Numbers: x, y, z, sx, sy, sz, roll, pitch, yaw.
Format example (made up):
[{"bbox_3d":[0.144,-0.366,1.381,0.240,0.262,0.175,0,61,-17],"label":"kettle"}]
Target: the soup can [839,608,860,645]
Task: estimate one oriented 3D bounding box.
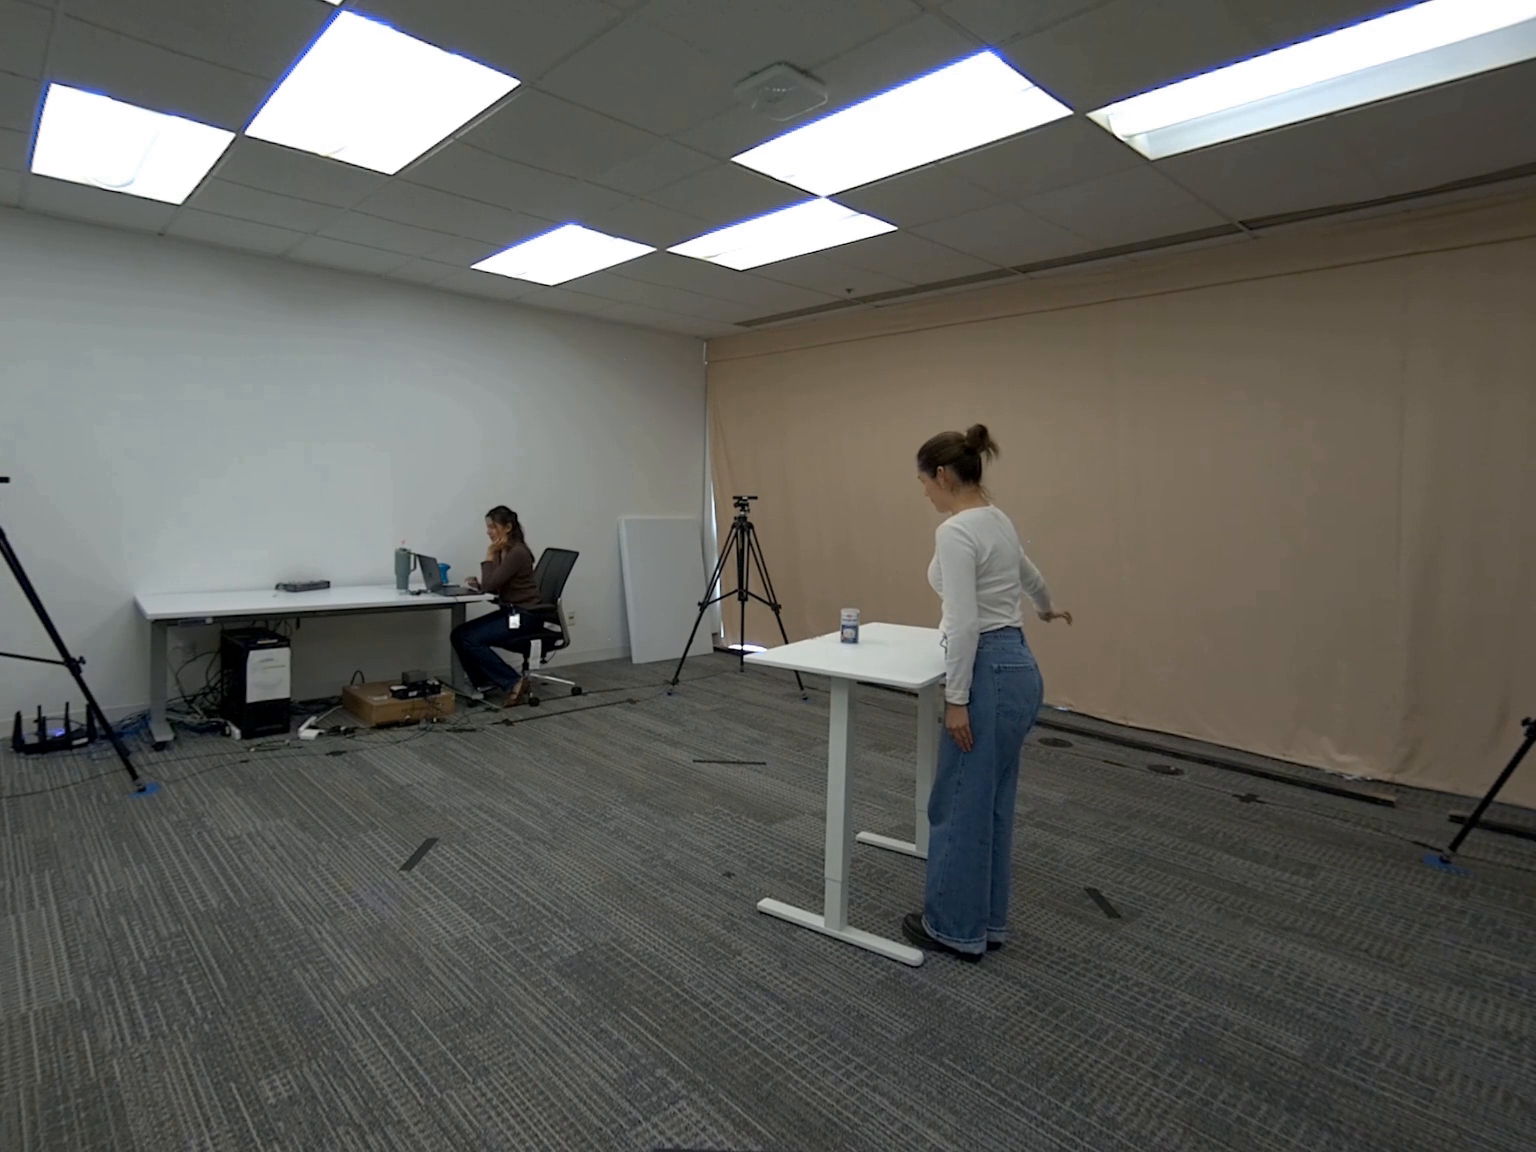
[{"bbox_3d":[0.289,0.180,3.025,0.067,0.121,0.067,1,2,-1],"label":"soup can"}]
